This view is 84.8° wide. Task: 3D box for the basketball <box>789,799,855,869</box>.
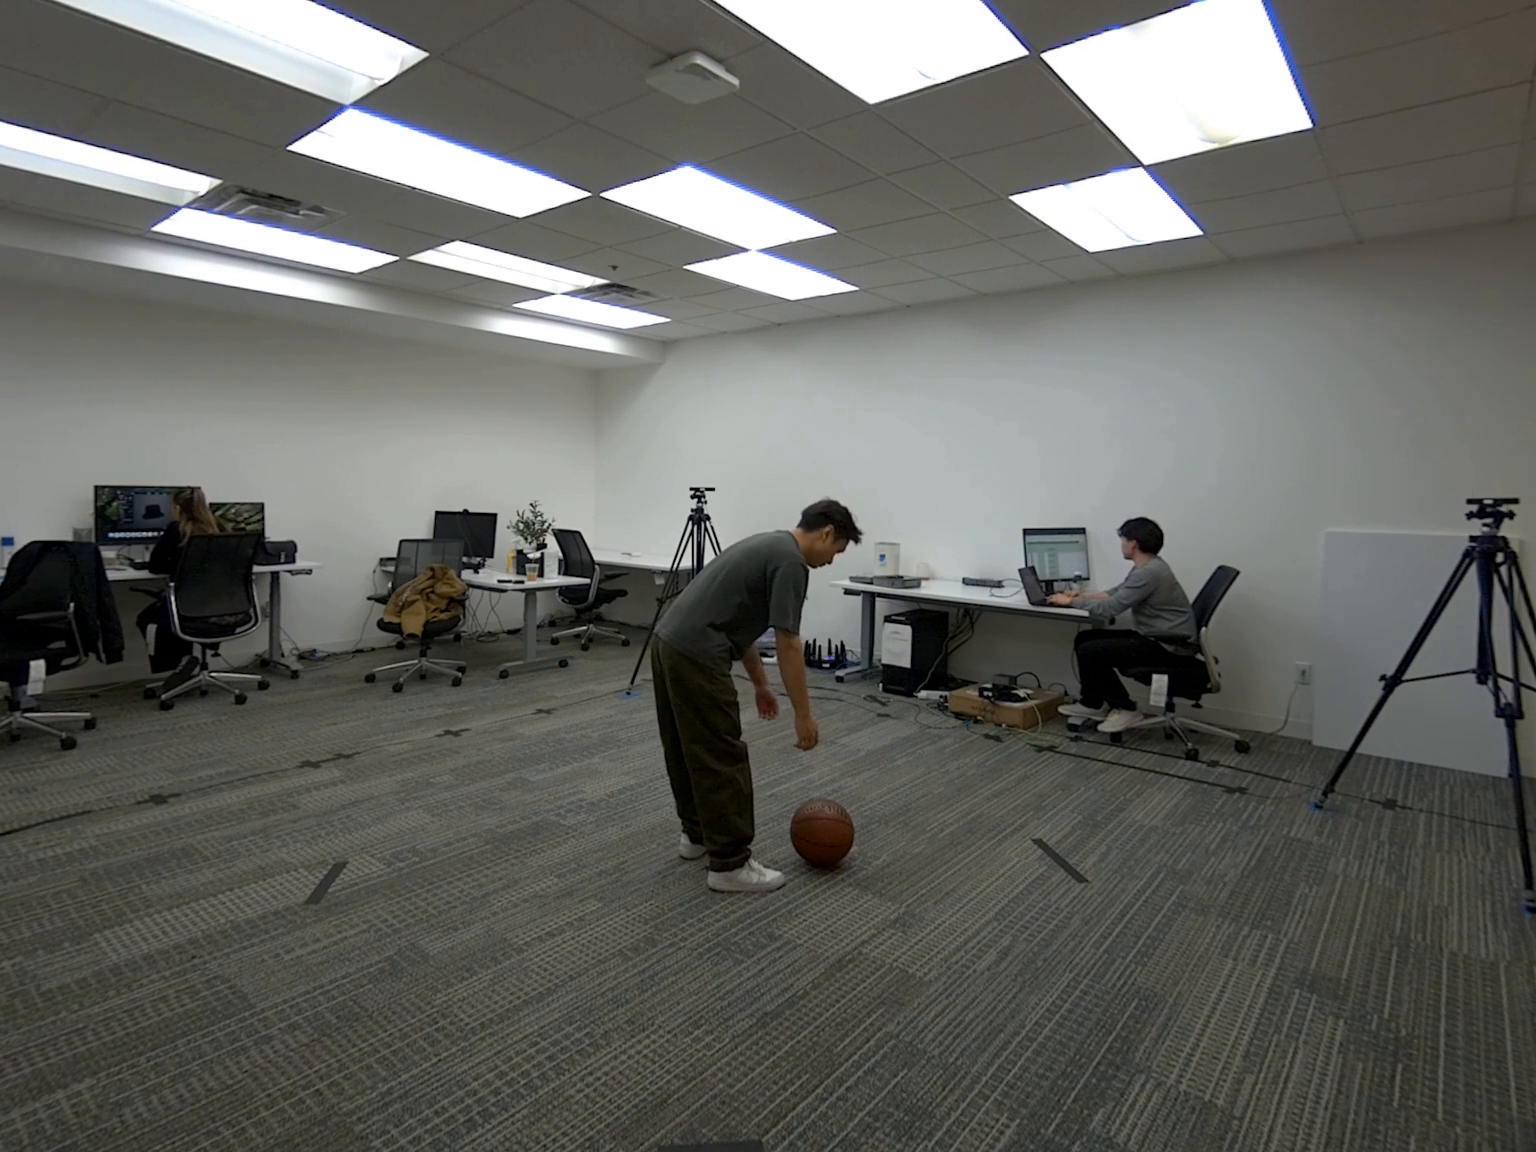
[{"bbox_3d":[0.200,0.949,3.176,0.235,0.235,0.237,1,4,-2],"label":"basketball"}]
